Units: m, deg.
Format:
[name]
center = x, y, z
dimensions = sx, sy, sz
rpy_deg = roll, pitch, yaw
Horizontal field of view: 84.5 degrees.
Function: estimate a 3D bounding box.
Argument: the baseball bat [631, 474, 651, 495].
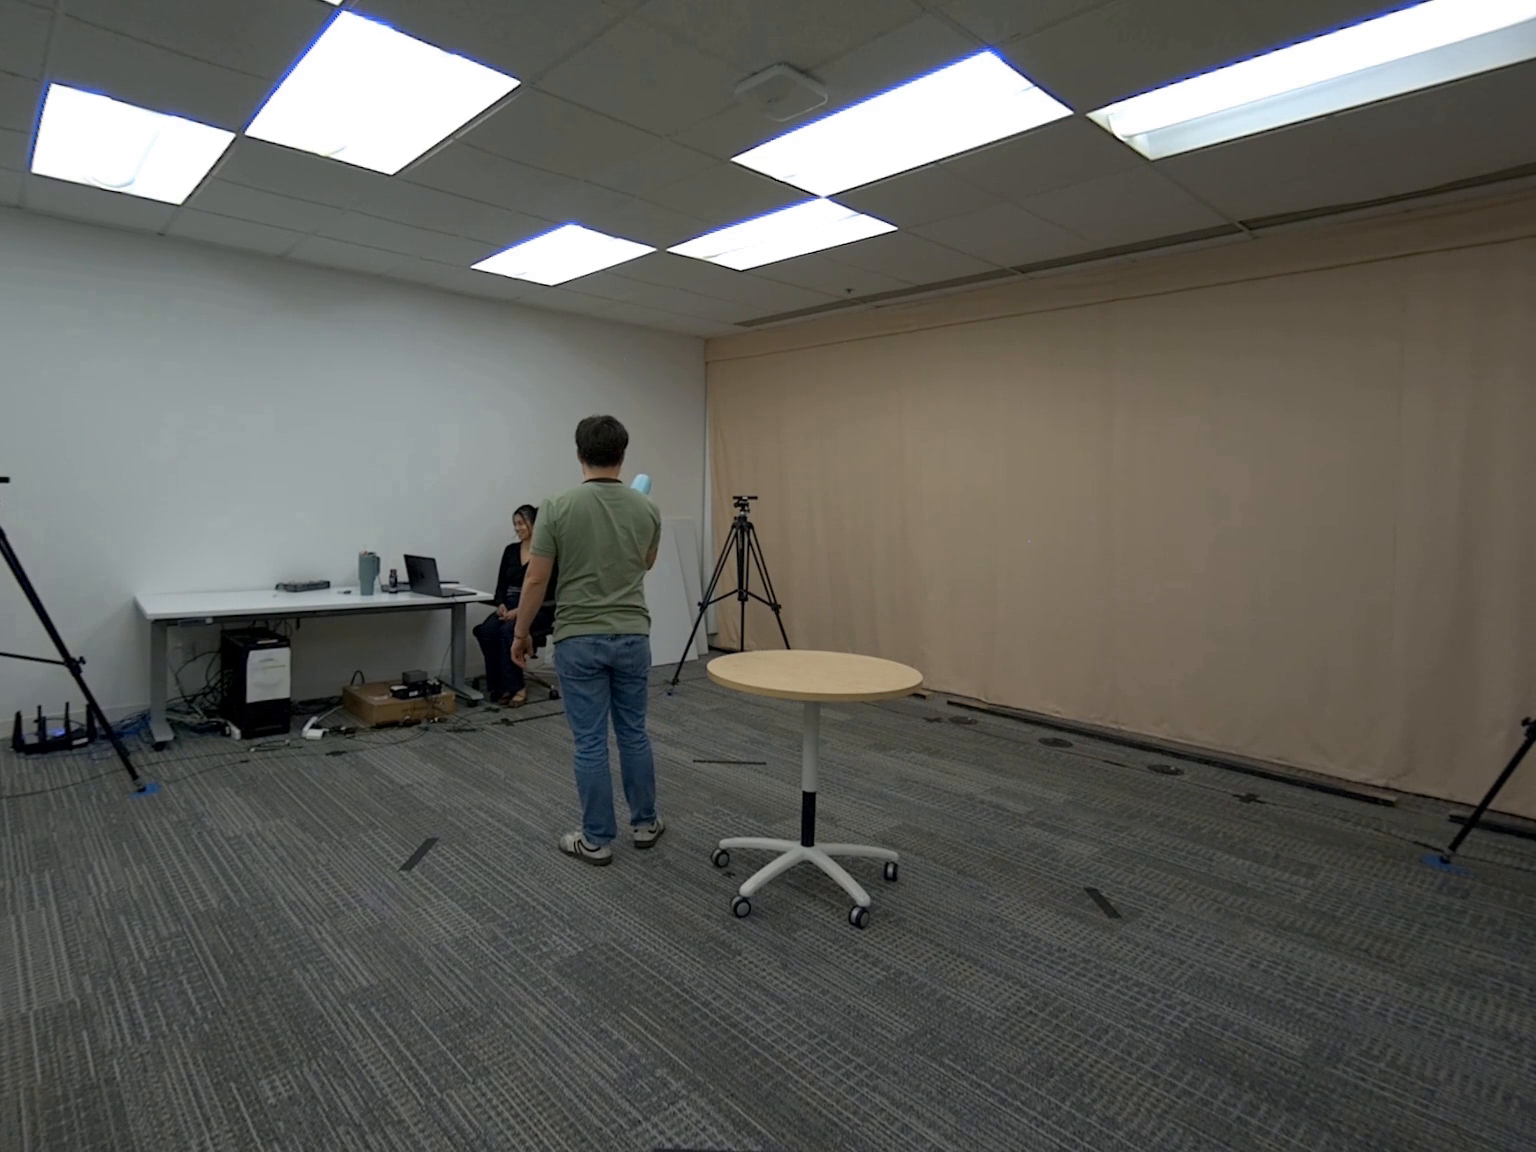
[baseball bat]
center = -0.620, -0.263, 3.735
dimensions = 0.089, 0.087, 0.553
rpy_deg = 1, 42, 5
